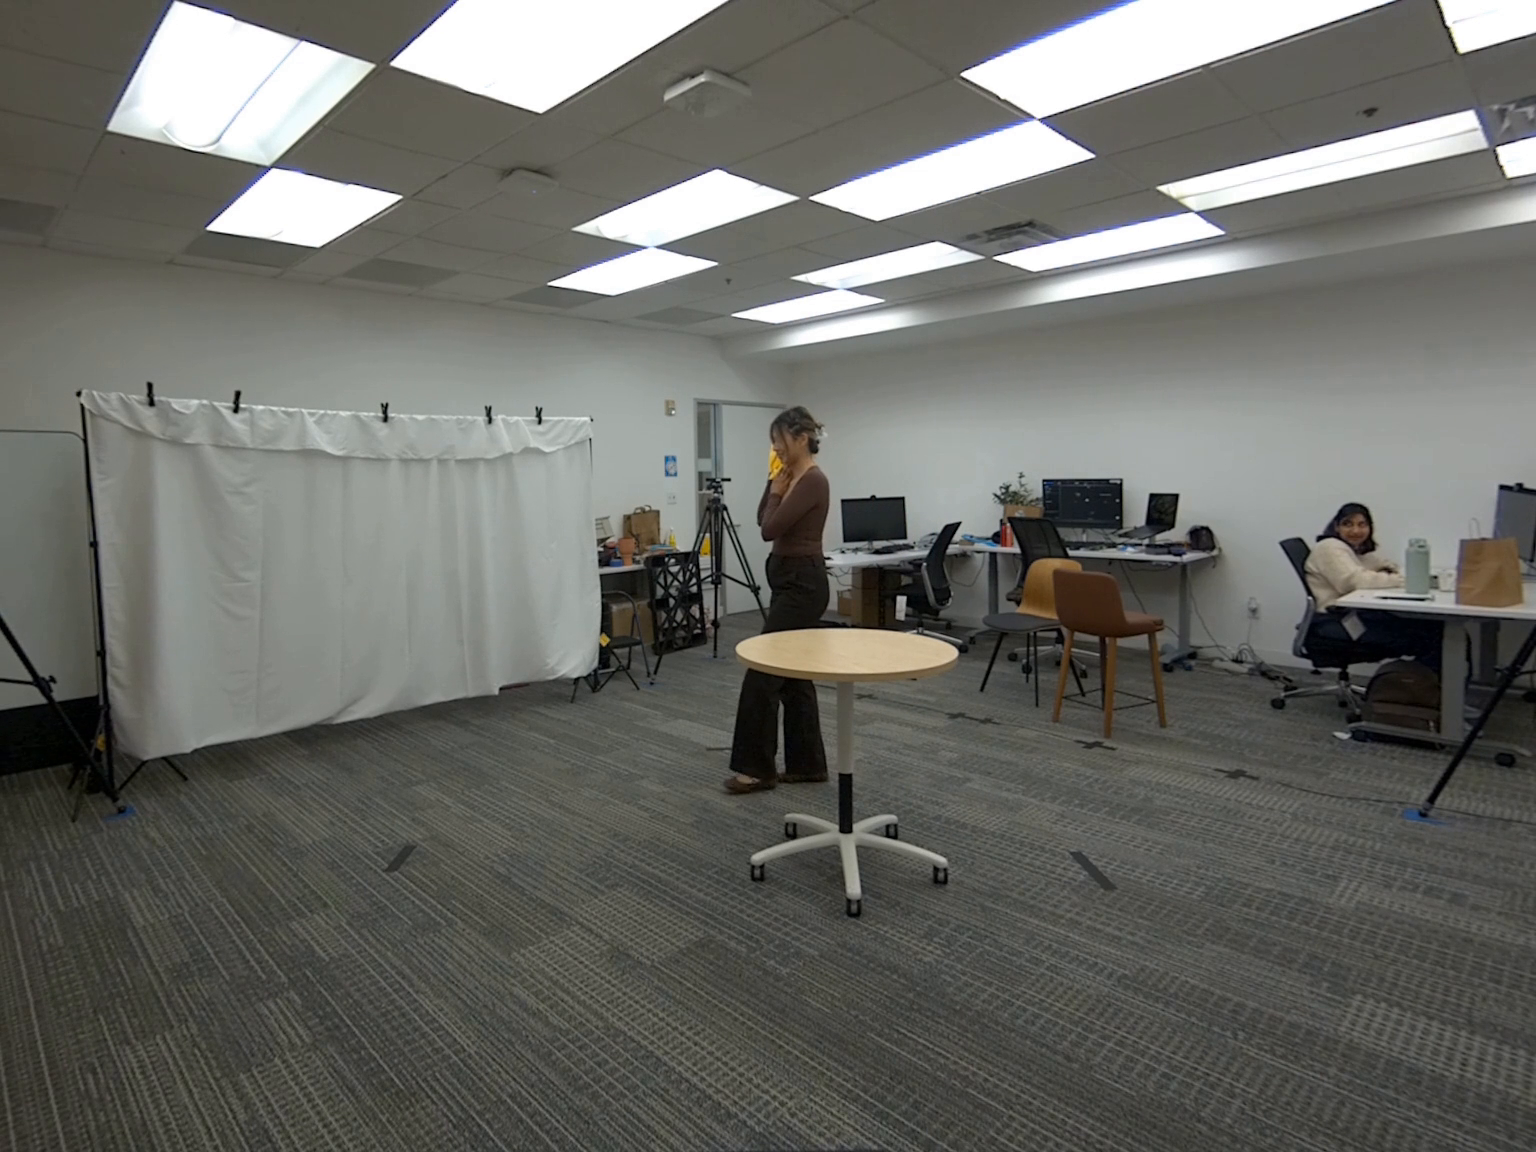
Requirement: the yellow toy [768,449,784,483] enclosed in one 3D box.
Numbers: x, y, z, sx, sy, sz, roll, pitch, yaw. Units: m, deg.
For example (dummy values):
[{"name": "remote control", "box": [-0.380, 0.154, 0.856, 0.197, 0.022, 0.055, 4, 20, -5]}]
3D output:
[{"name": "yellow toy", "box": [0.087, -0.594, 3.997, 0.191, 0.232, 0.205, -14, -4, -13]}]
